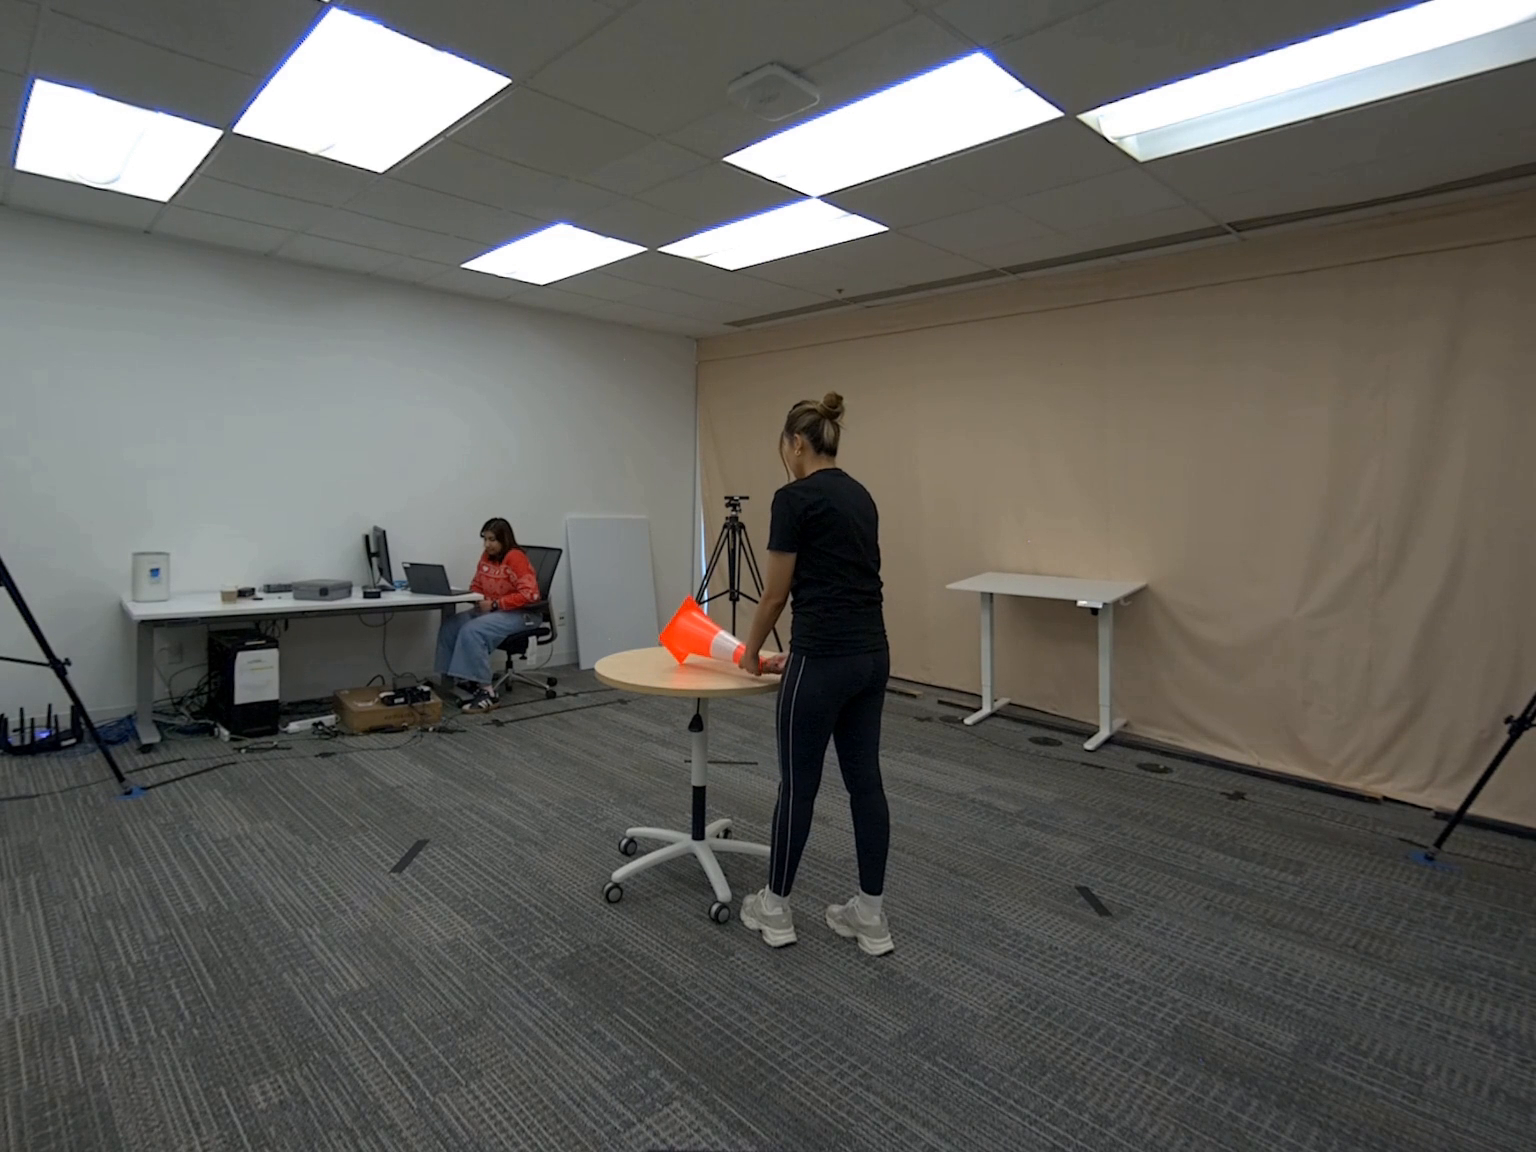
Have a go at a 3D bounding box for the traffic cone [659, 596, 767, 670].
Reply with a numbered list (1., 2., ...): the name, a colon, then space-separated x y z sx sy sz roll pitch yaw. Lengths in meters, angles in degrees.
1. traffic cone: -0.157 0.254 2.910 0.395 0.204 0.198 21 -24 35
